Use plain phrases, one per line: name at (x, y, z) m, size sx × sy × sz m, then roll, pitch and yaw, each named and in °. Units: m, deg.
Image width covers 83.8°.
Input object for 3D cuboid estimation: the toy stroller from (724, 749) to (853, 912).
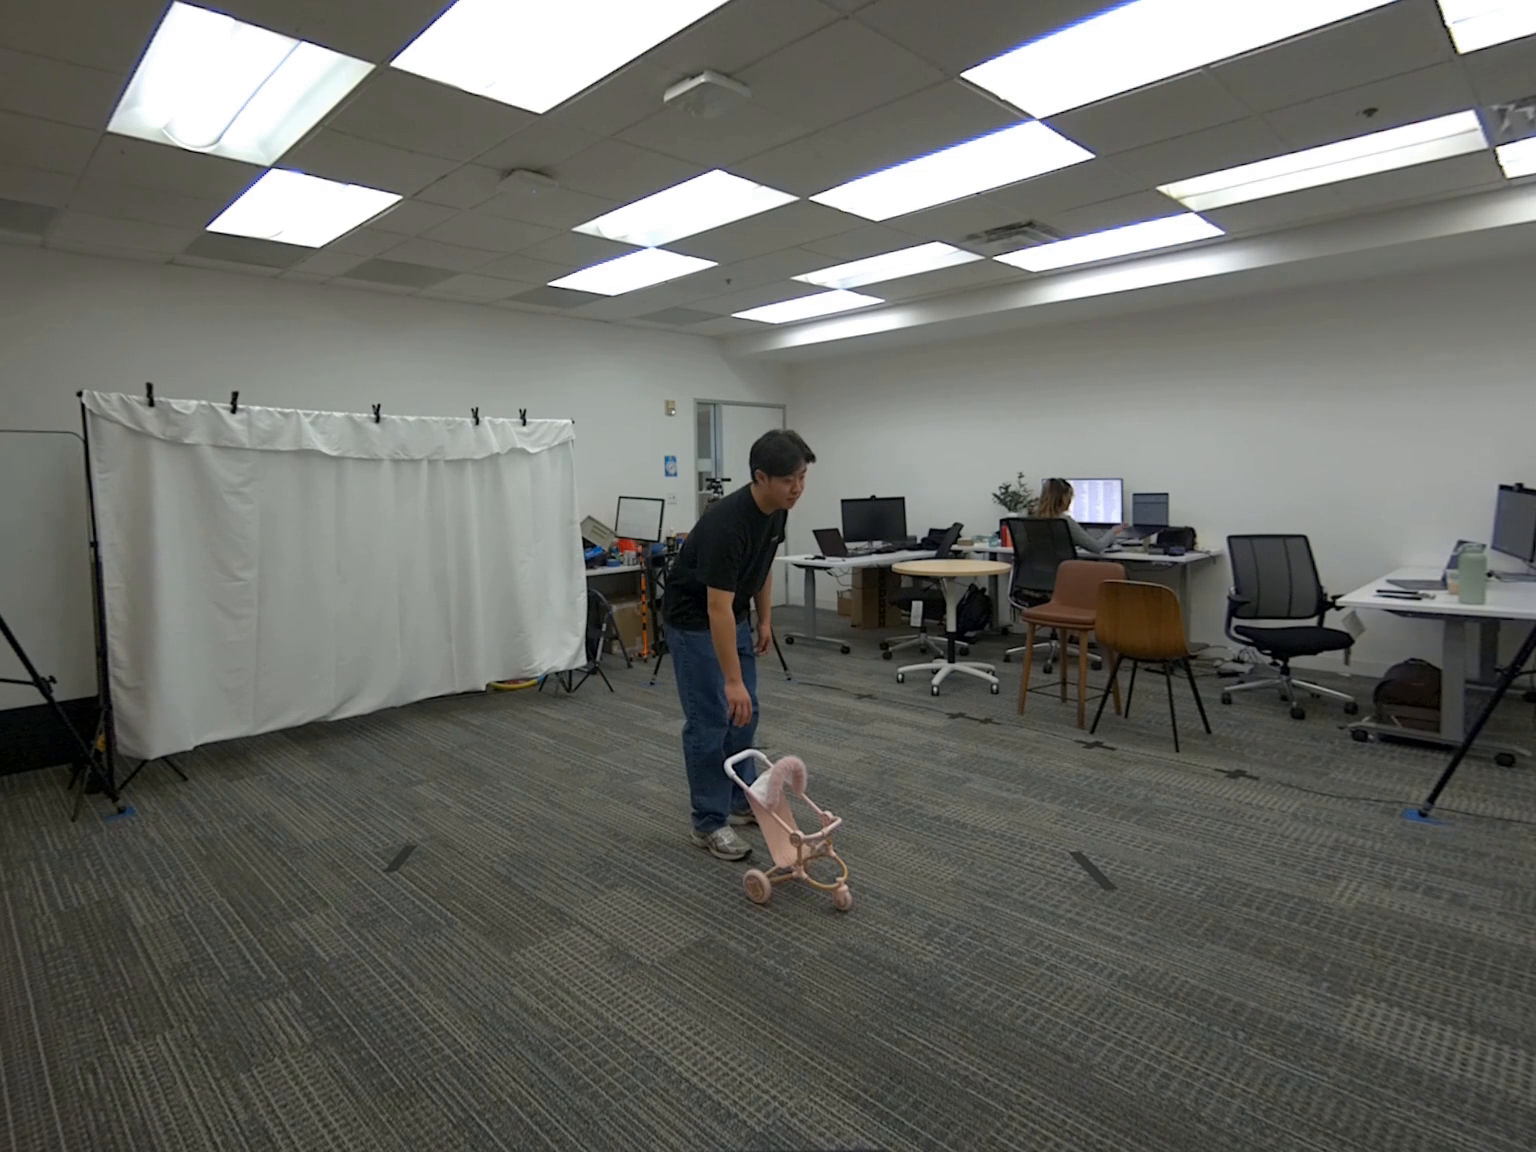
toy stroller at (0.085, 0.841, 2.860) m, size 0.348 × 0.539 × 0.274 m, roll -18°, pitch -8°, yaw 41°
